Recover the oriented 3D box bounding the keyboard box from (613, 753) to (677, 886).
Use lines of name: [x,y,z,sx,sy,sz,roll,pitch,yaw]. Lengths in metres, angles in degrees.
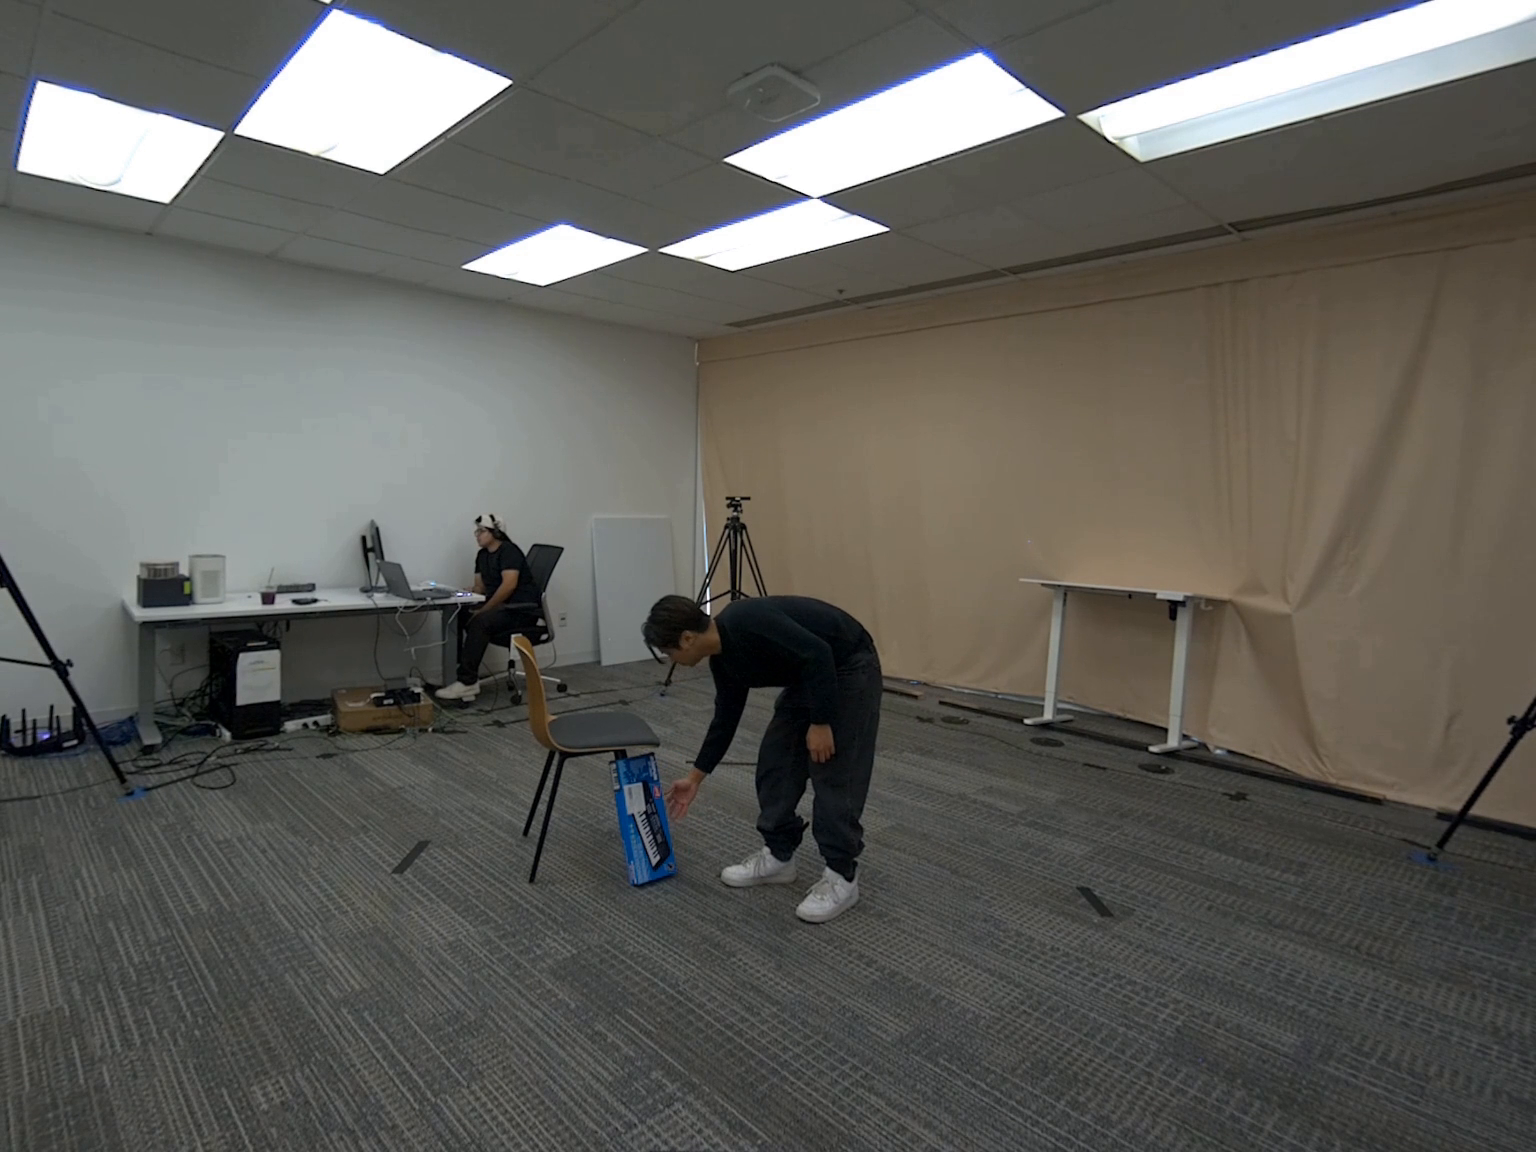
keyboard box: [-0.467,0.882,3.096,0.172,0.441,0.060,-2,-16,-41]
